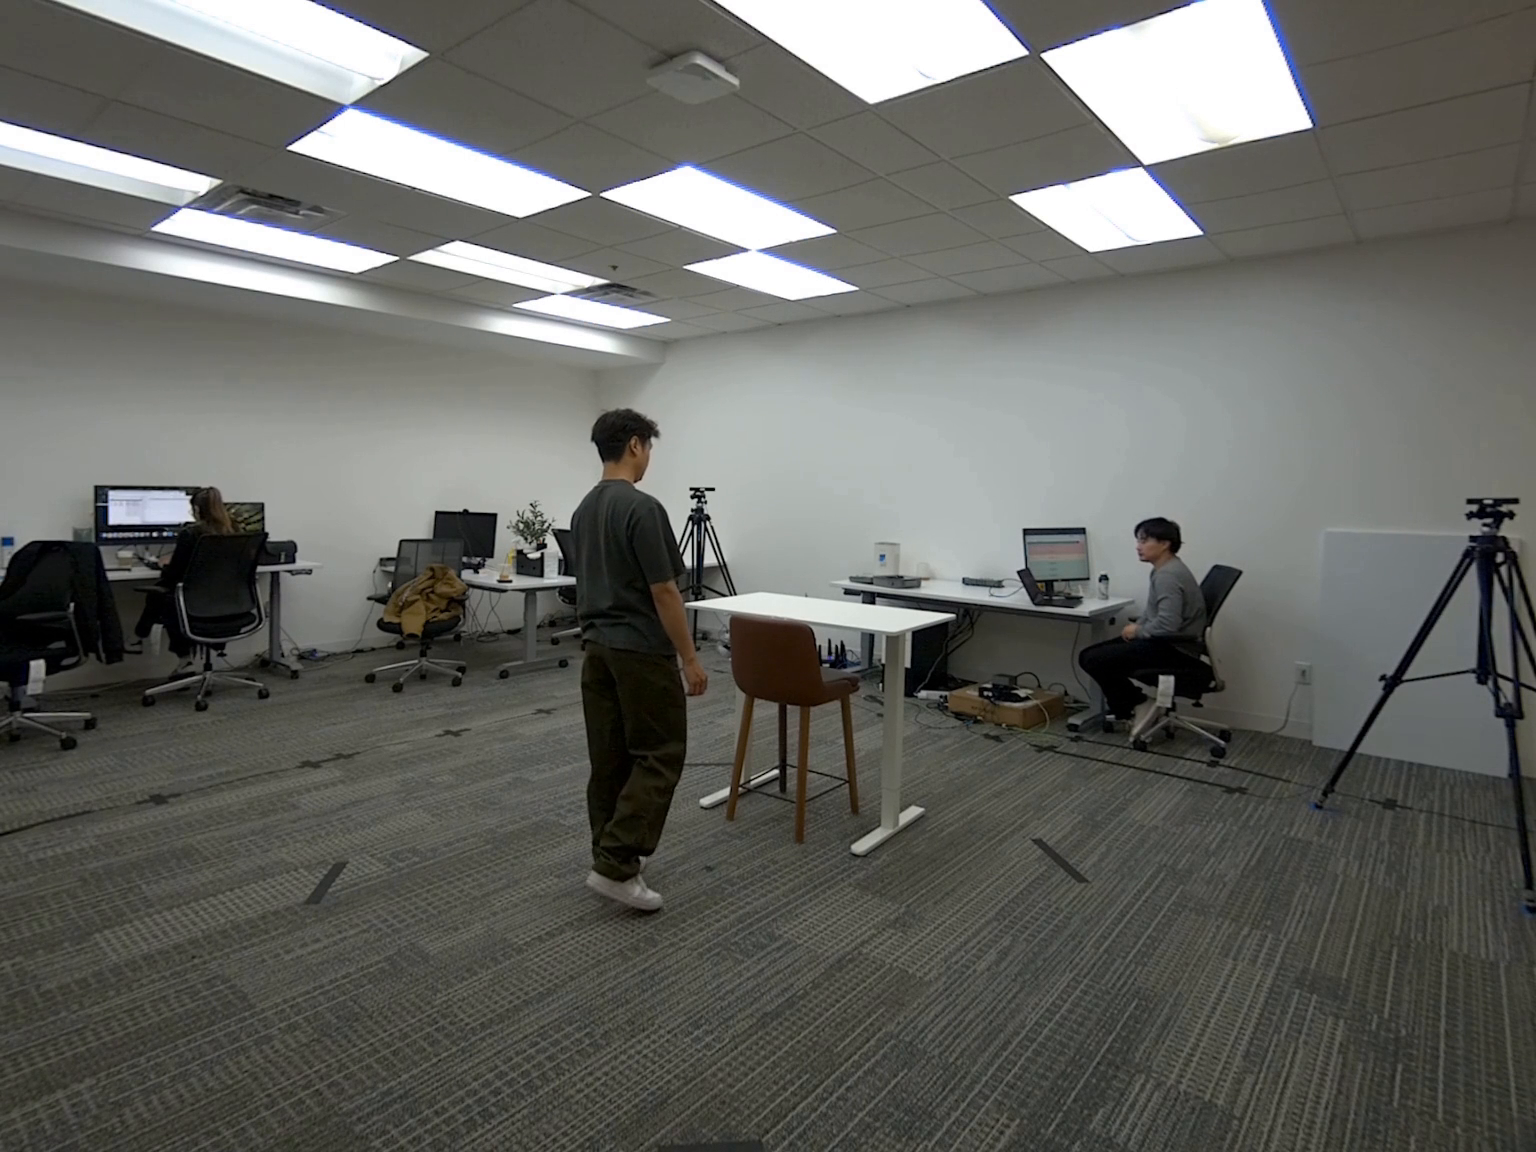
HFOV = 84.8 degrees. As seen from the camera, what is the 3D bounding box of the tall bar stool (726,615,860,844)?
[{"bbox_3d":[0.096,0.587,3.607,0.471,0.886,0.455,3,6,37],"label":"tall bar stool"}]
